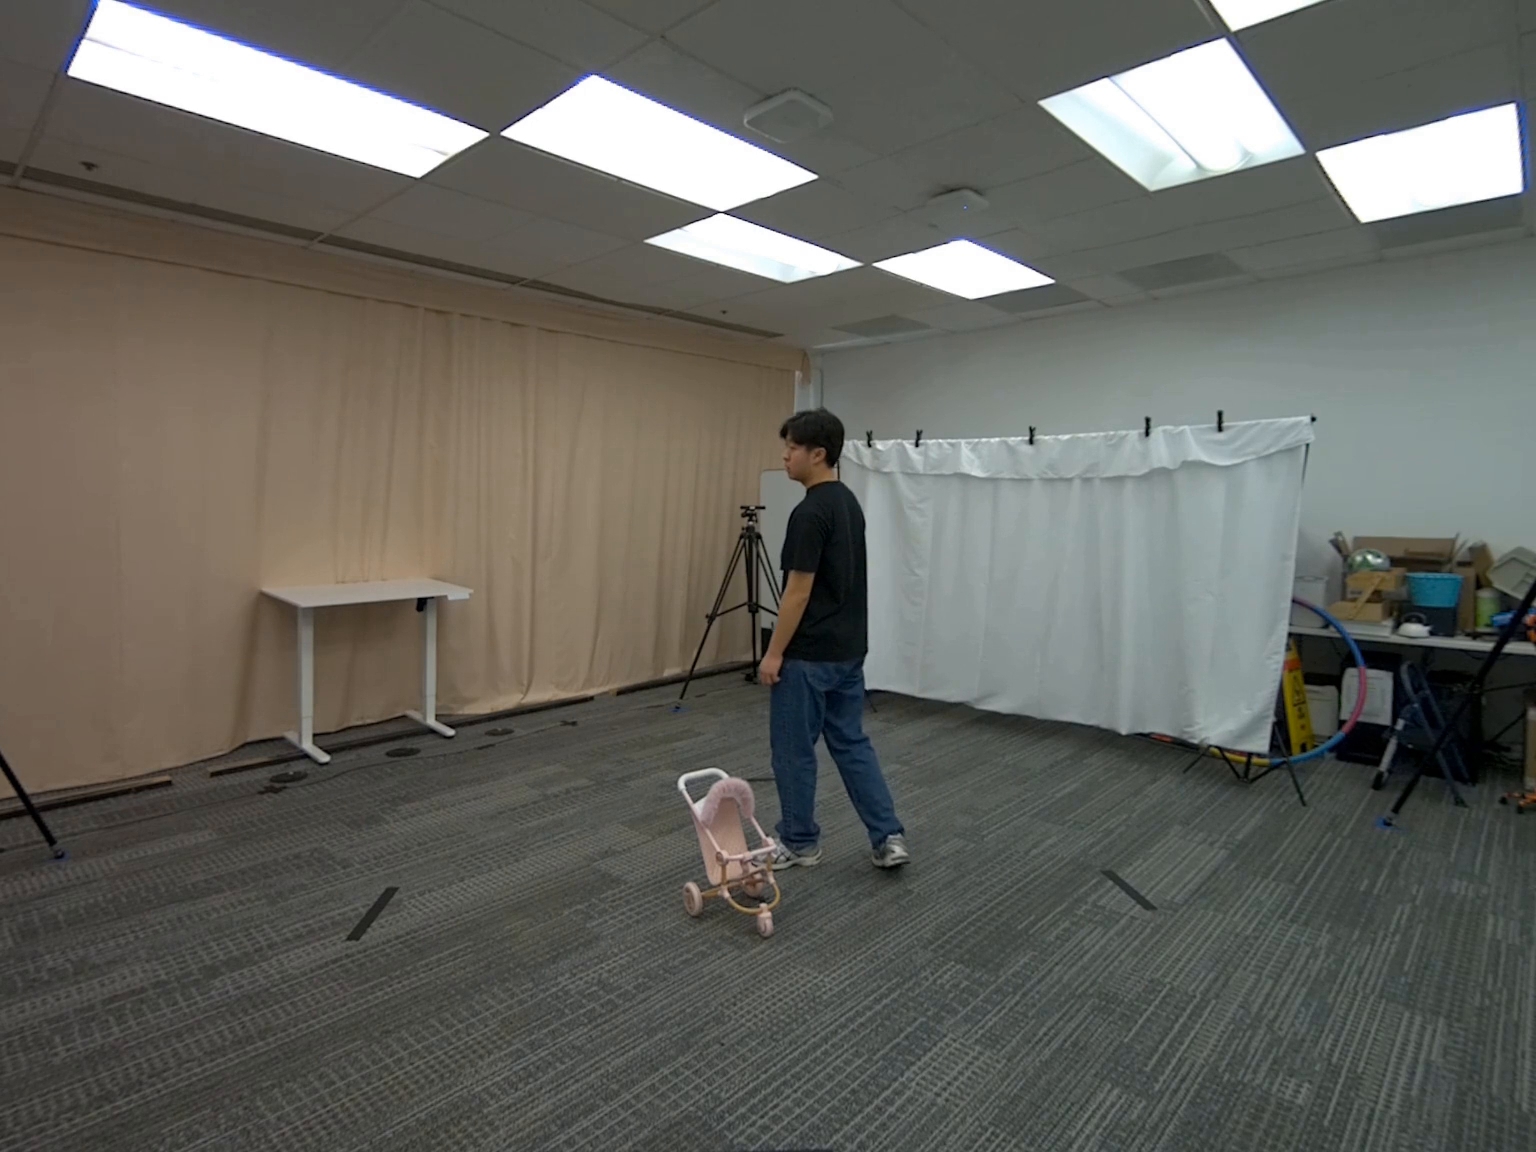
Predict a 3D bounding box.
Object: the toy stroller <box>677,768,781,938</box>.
[{"bbox_3d":[-0.119,0.929,2.871,0.274,0.539,0.348,-2,-12,-30],"label":"toy stroller"}]
